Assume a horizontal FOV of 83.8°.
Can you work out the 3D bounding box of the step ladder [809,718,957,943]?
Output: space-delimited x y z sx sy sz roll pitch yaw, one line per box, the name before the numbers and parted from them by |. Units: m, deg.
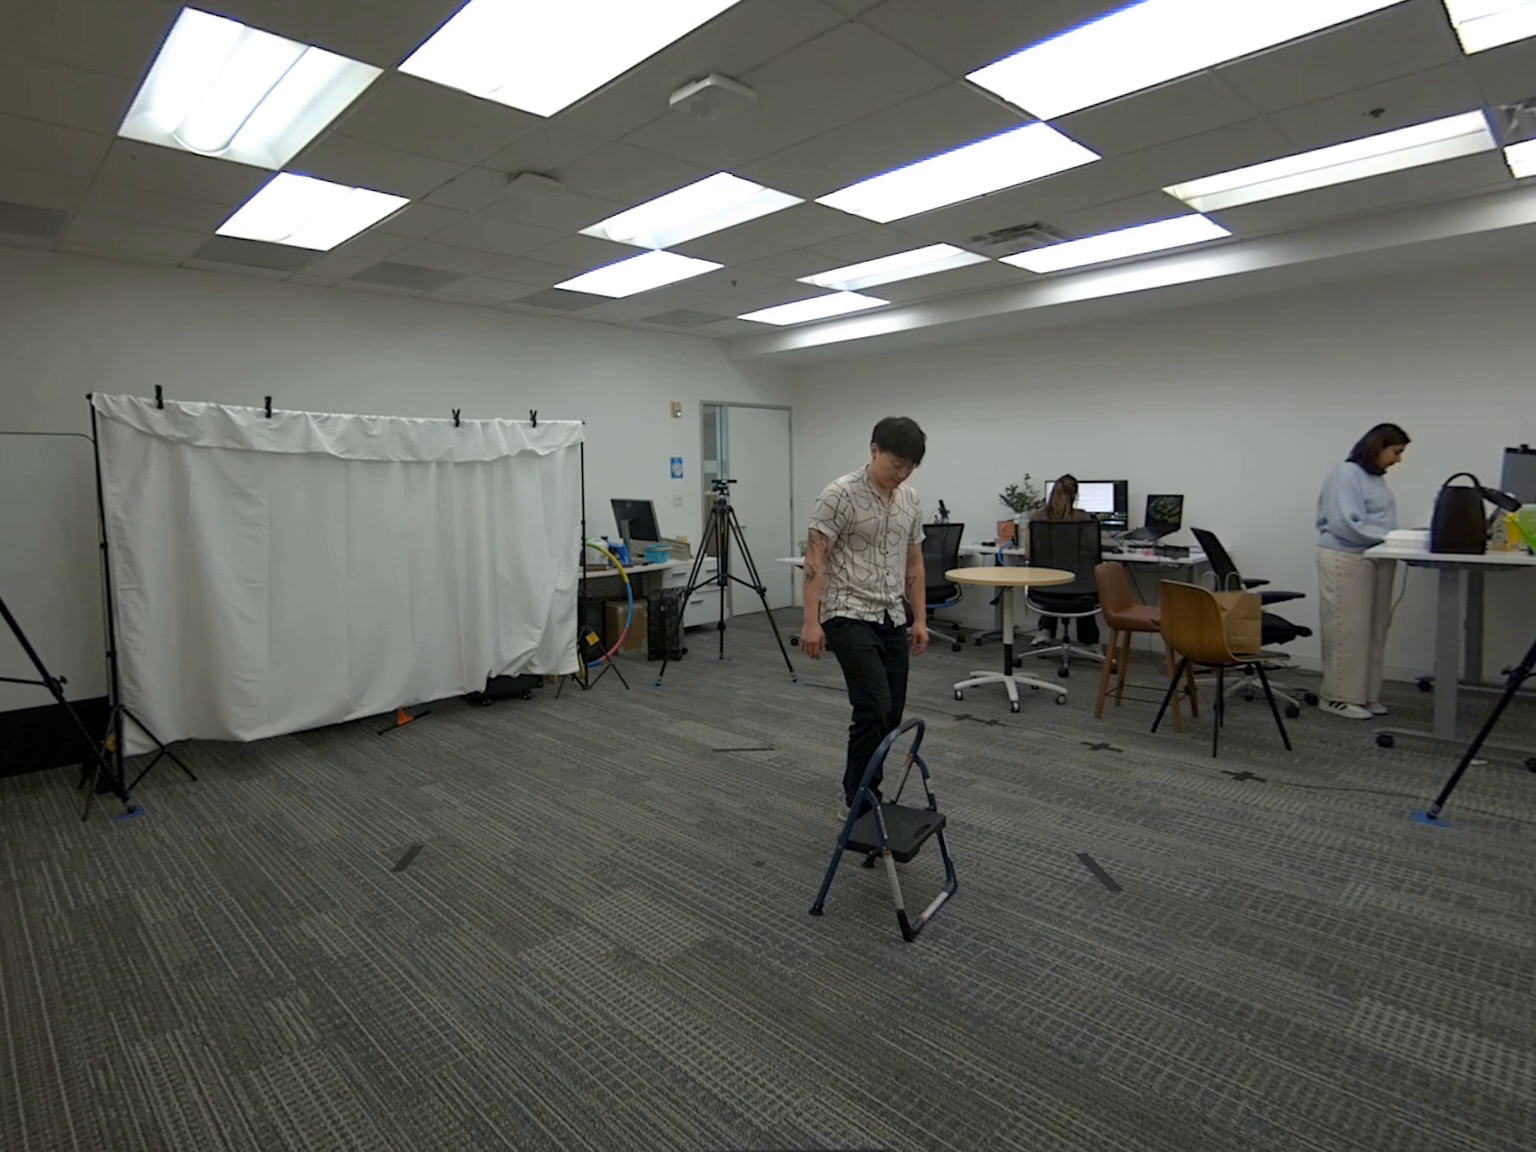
step ladder | 0.384 0.773 2.804 0.359 0.604 0.421 1 5 32
